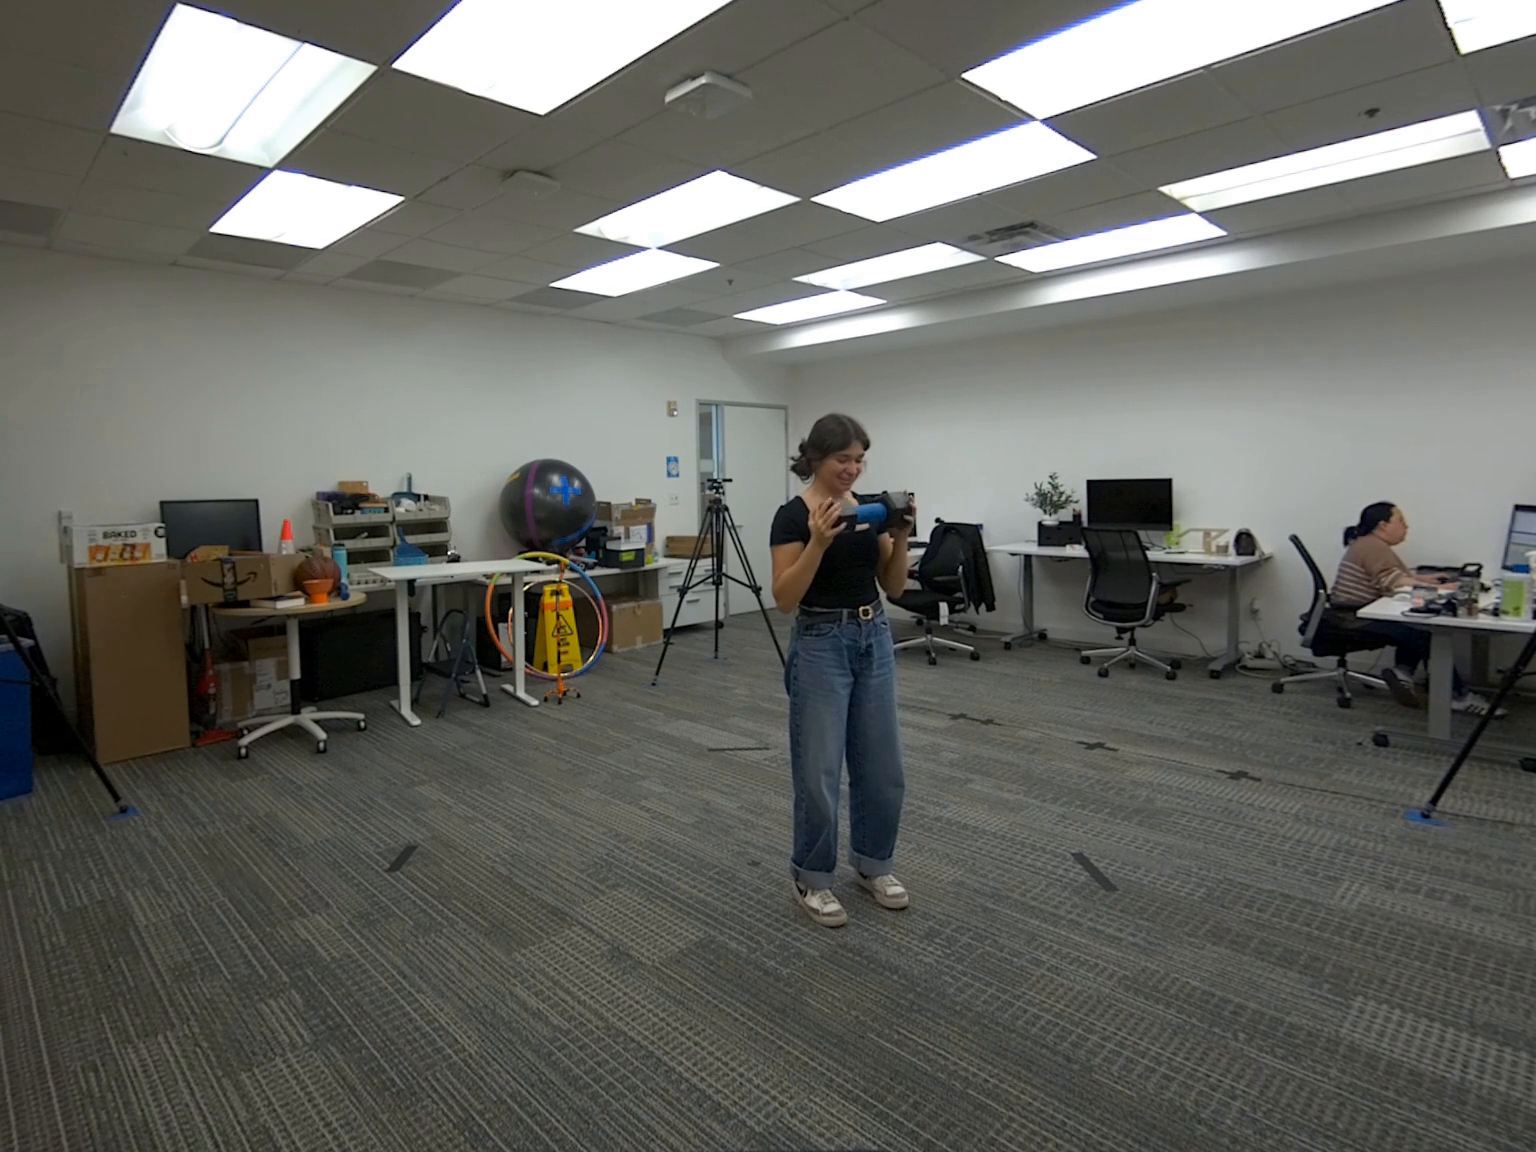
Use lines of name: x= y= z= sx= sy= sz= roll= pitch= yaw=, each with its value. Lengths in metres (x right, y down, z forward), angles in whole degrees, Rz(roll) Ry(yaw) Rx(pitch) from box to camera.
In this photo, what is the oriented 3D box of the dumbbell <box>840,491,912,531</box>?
dumbbell: x=0.287 y=-0.176 z=2.599 sx=0.288 sy=0.109 sz=0.125 roll=-11 pitch=1 yaw=-28
